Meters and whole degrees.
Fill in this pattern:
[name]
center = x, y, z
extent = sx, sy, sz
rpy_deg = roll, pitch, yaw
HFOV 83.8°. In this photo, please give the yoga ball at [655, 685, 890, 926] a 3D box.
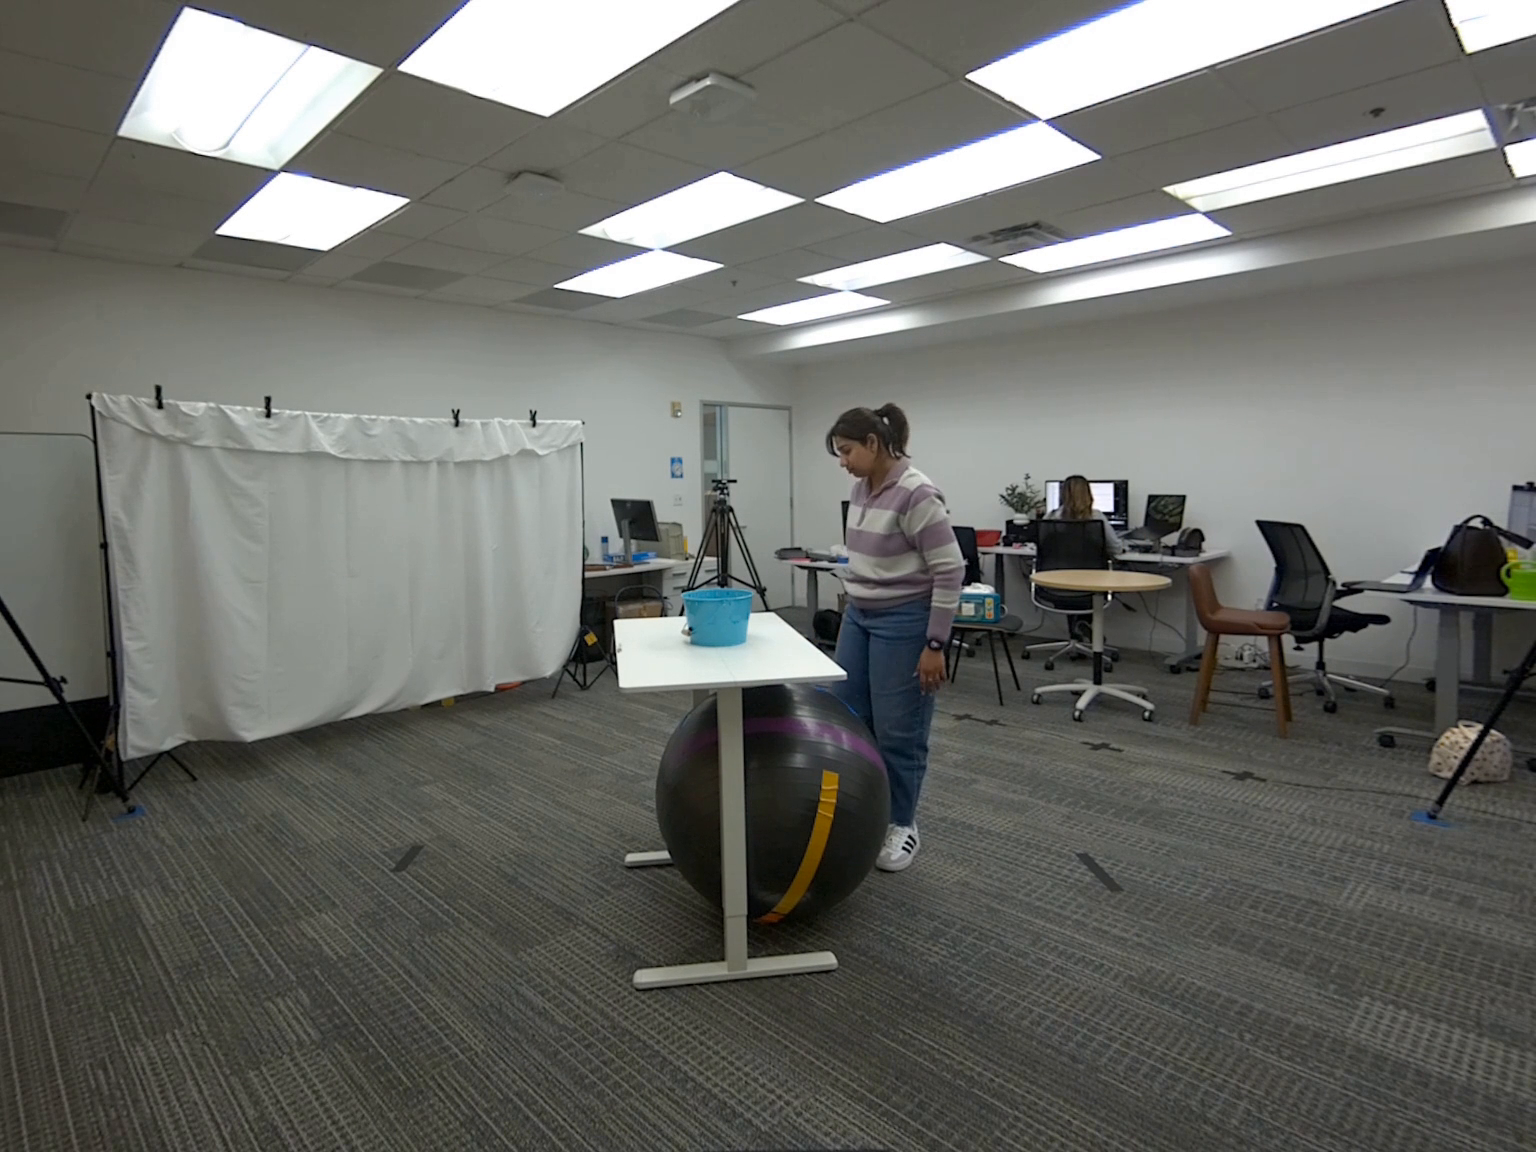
[yoga ball]
center = 0.019, 0.720, 2.765
extent = 0.757, 0.755, 0.762
rpy_deg = -1, 5, -2
